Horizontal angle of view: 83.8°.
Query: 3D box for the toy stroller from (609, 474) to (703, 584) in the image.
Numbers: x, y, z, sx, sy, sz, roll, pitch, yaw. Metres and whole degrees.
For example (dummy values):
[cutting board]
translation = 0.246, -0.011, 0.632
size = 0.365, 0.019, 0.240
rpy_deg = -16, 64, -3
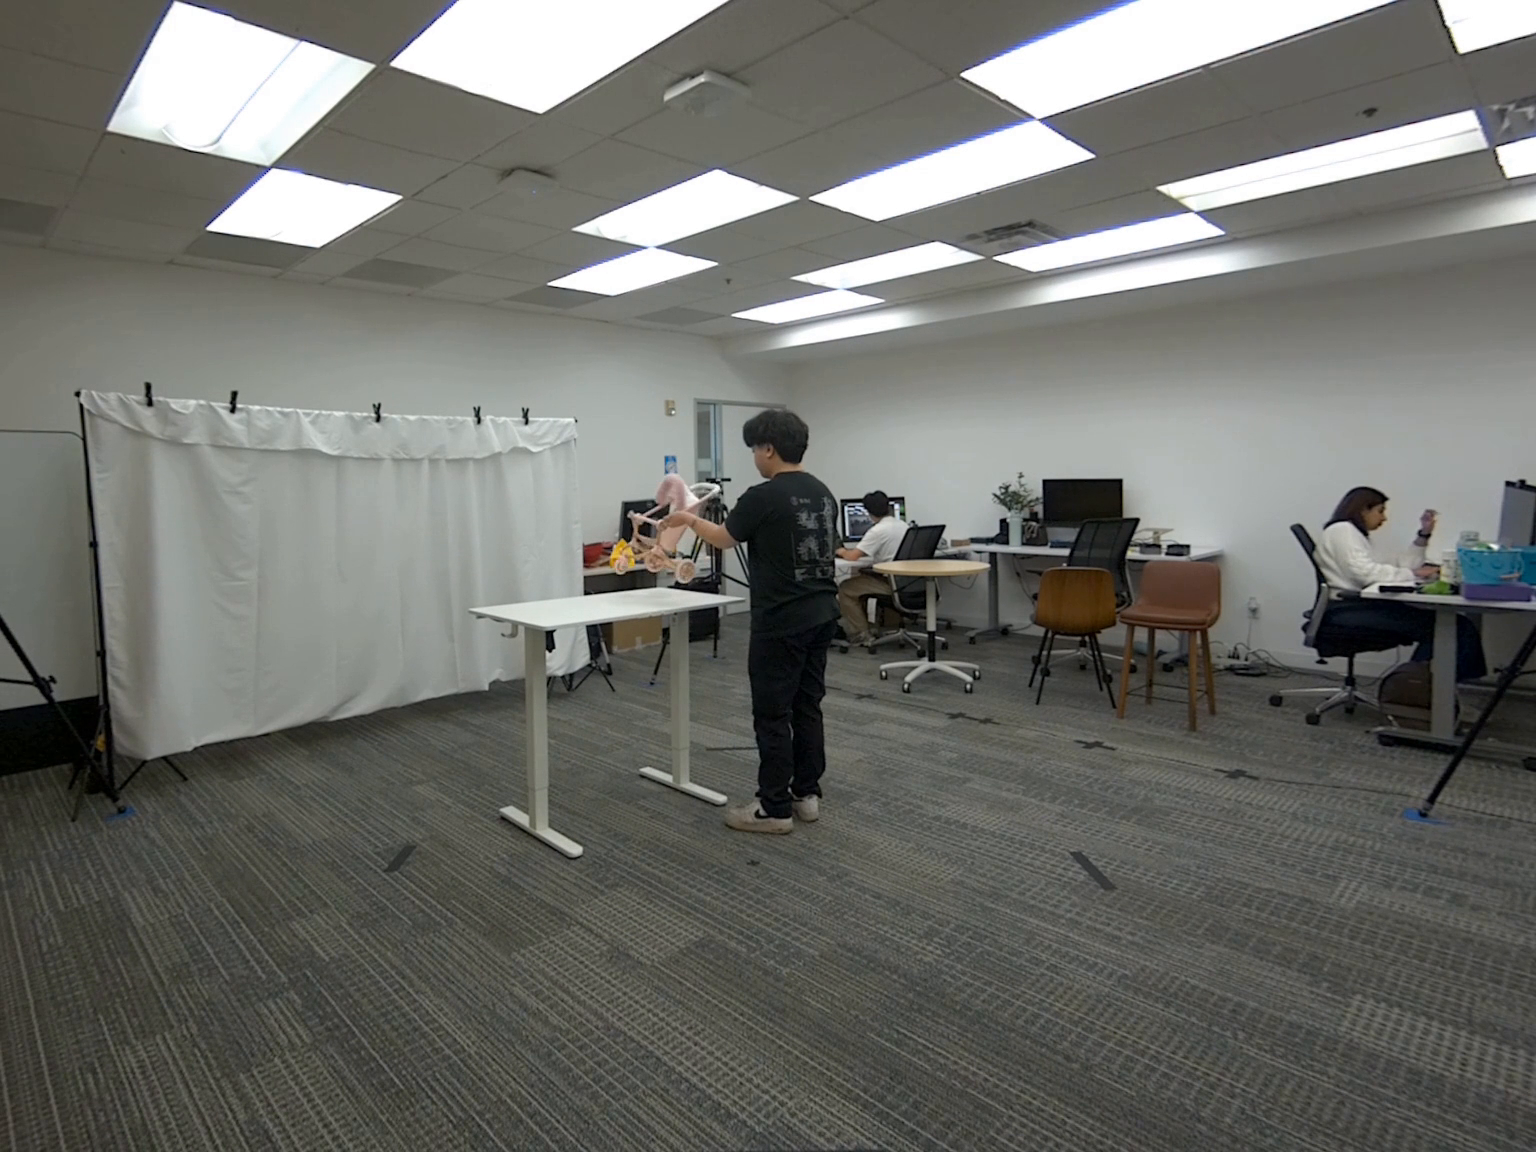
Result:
[toy stroller]
translation = -0.466, -0.223, 3.840
size = 0.330, 0.536, 0.291
rpy_deg = 23, -4, -34
